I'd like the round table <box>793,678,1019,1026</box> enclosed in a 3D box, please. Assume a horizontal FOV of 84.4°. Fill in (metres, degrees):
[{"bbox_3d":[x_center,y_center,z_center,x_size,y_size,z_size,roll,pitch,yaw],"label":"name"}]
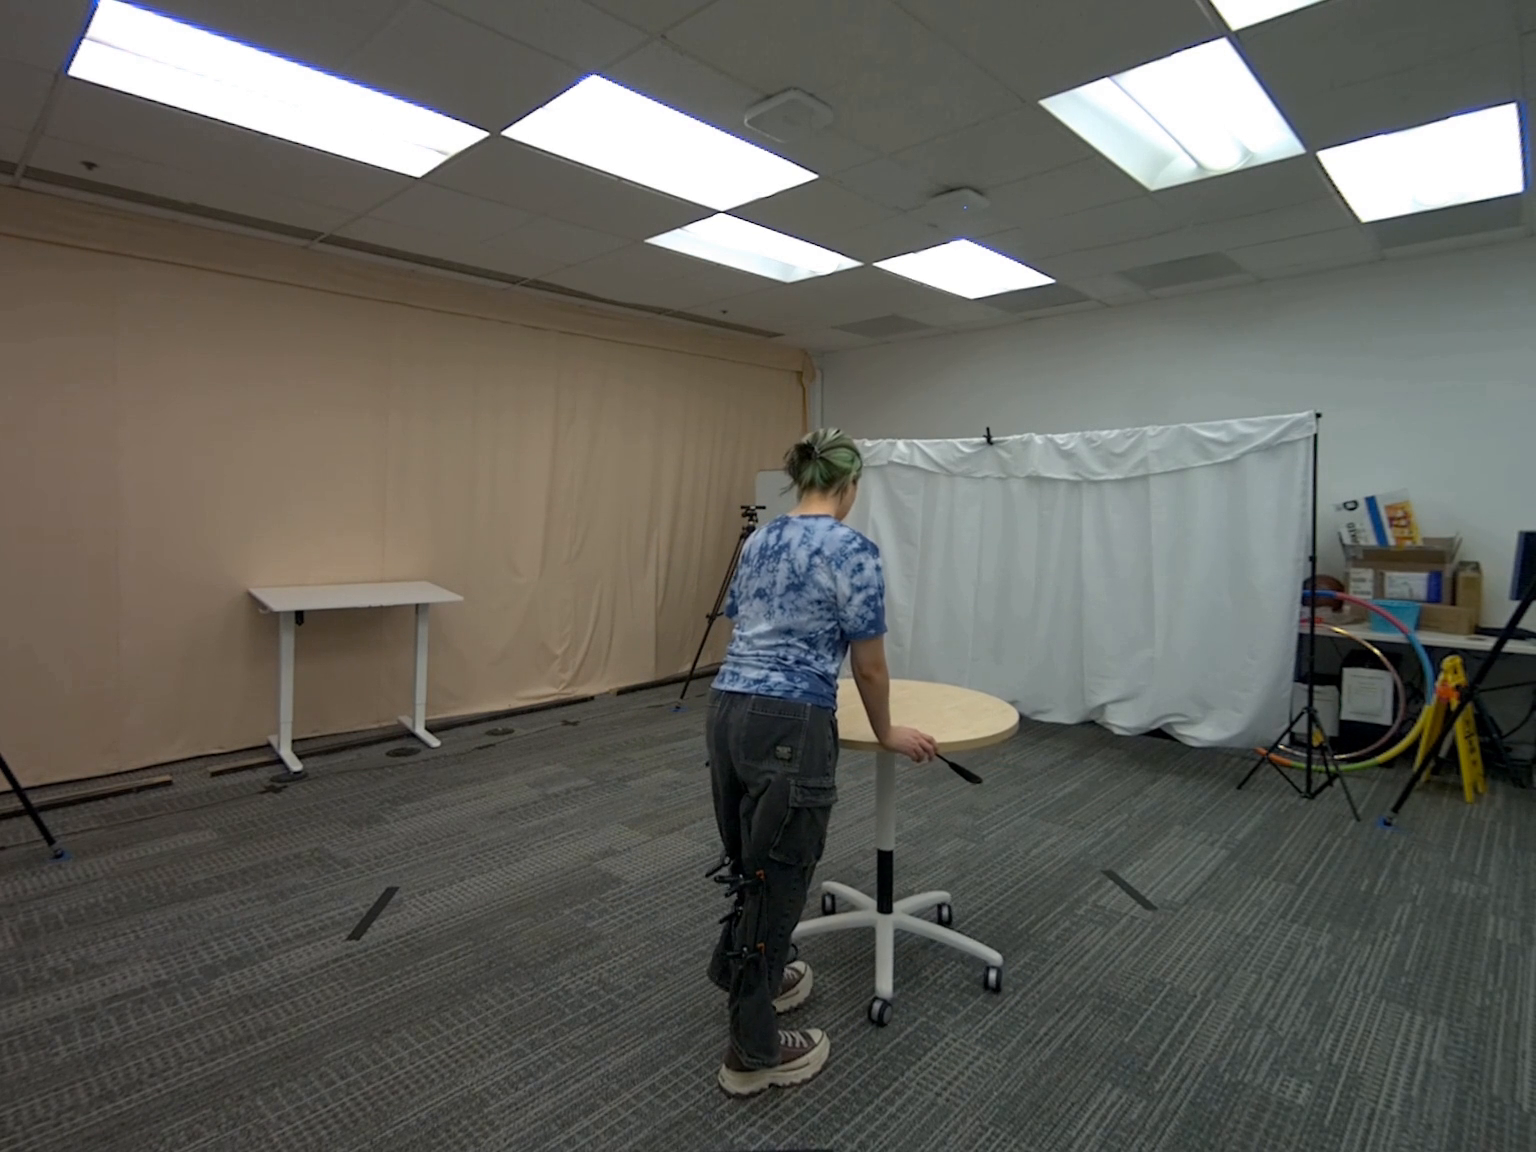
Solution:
[{"bbox_3d":[0.372,0.790,2.582,0.763,0.792,0.767,0,4,-2],"label":"round table"}]
